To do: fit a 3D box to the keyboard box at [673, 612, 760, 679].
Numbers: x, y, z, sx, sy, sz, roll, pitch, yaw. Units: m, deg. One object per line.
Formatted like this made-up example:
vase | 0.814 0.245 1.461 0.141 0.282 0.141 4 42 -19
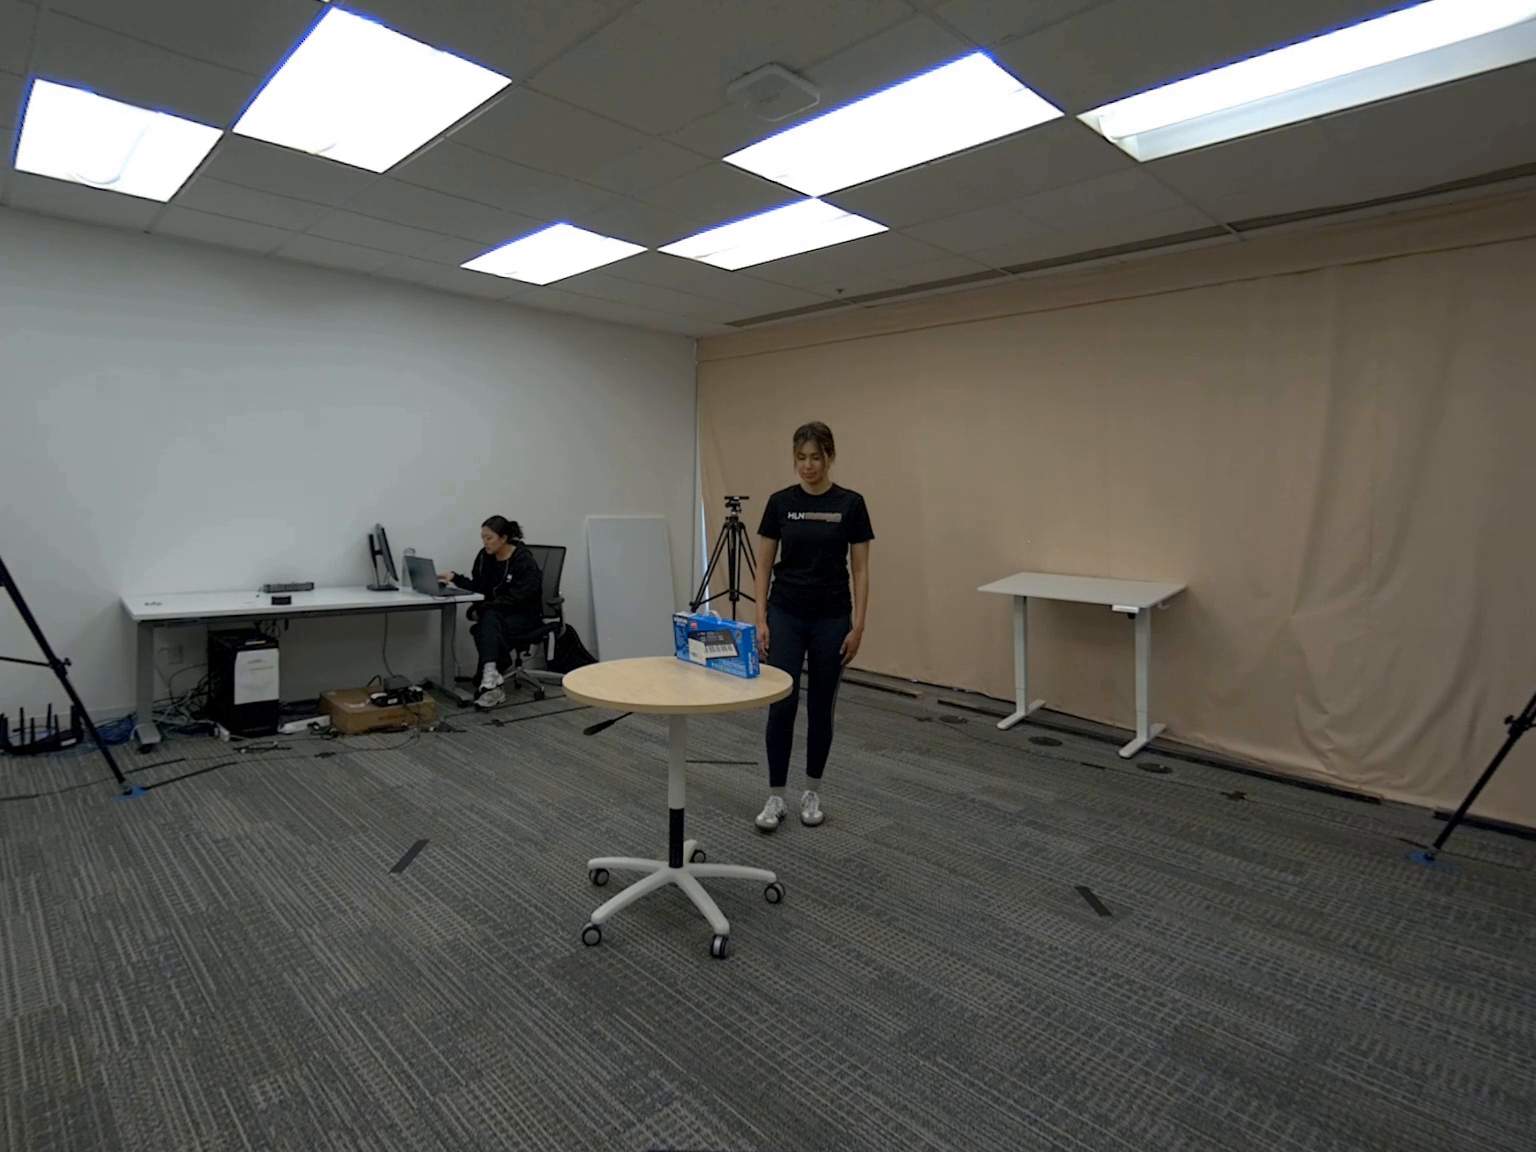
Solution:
keyboard box | -0.198 0.242 2.987 0.058 0.175 0.448 -10 10 -37
